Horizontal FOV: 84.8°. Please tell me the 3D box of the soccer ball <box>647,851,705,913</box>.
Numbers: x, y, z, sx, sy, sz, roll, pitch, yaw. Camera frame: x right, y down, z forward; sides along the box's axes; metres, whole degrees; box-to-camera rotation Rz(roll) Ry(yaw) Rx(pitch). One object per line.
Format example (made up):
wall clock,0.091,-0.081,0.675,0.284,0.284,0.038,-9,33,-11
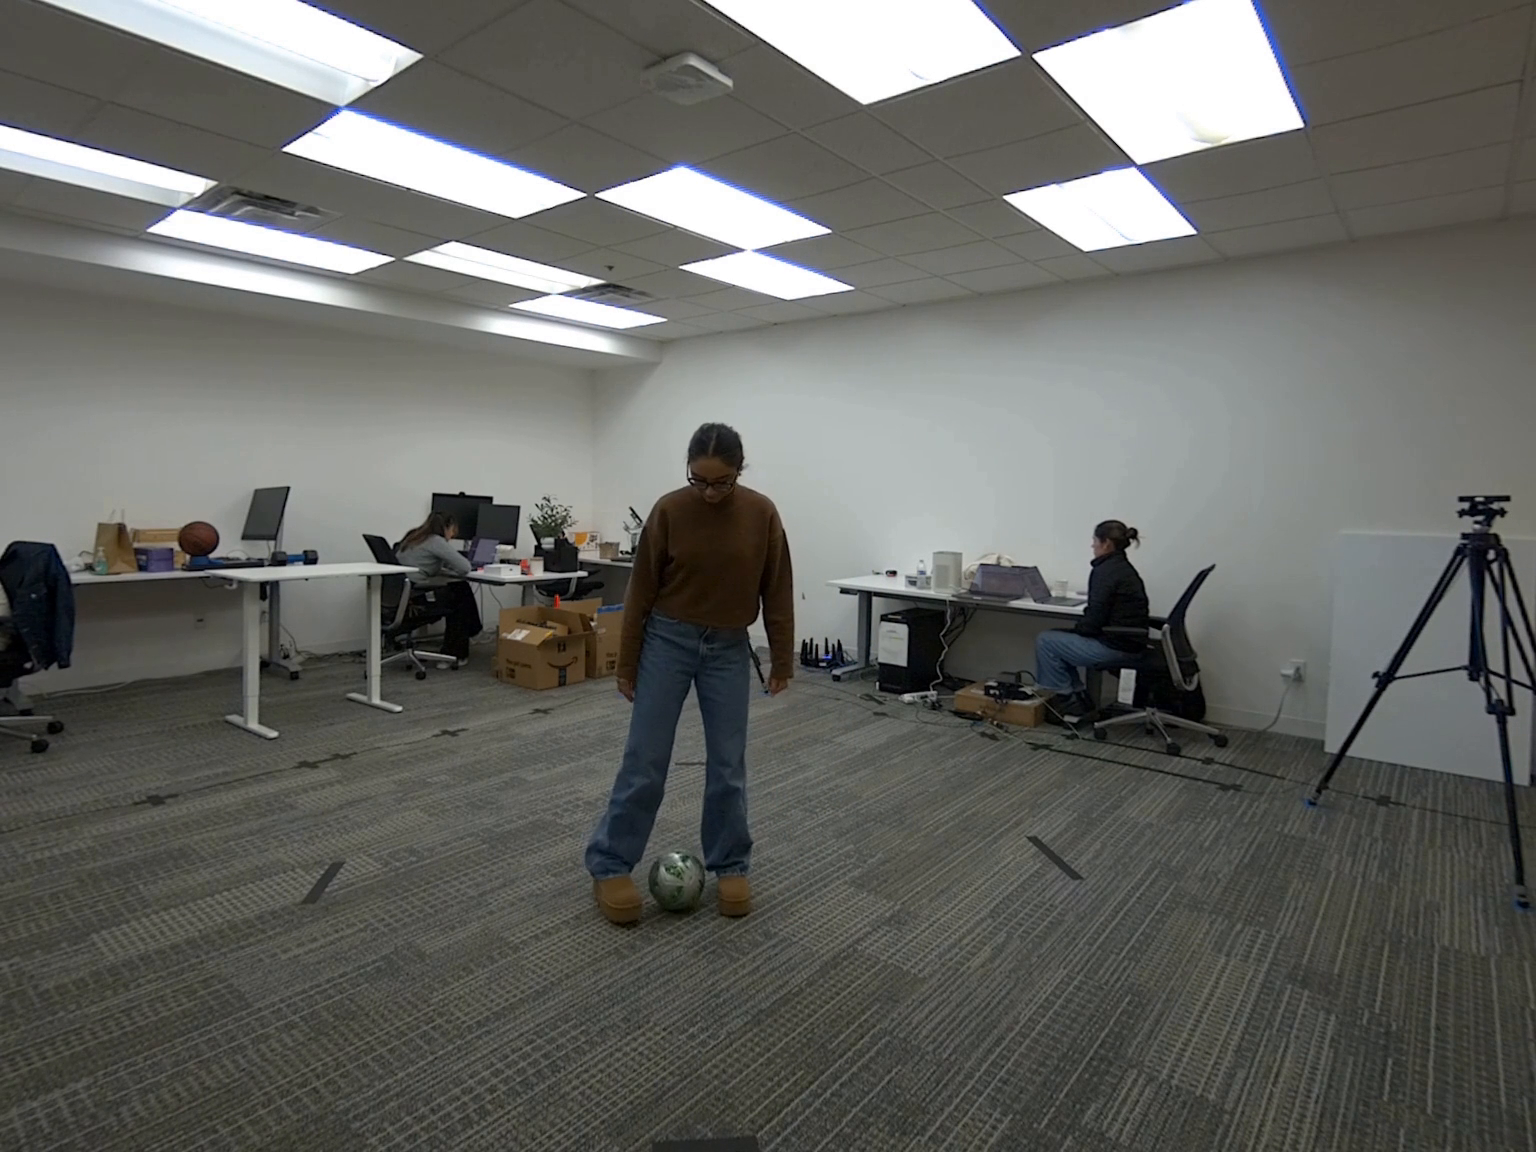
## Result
soccer ball,-0.308,1.010,2.798,0.187,0.187,0.188,1,4,-2
